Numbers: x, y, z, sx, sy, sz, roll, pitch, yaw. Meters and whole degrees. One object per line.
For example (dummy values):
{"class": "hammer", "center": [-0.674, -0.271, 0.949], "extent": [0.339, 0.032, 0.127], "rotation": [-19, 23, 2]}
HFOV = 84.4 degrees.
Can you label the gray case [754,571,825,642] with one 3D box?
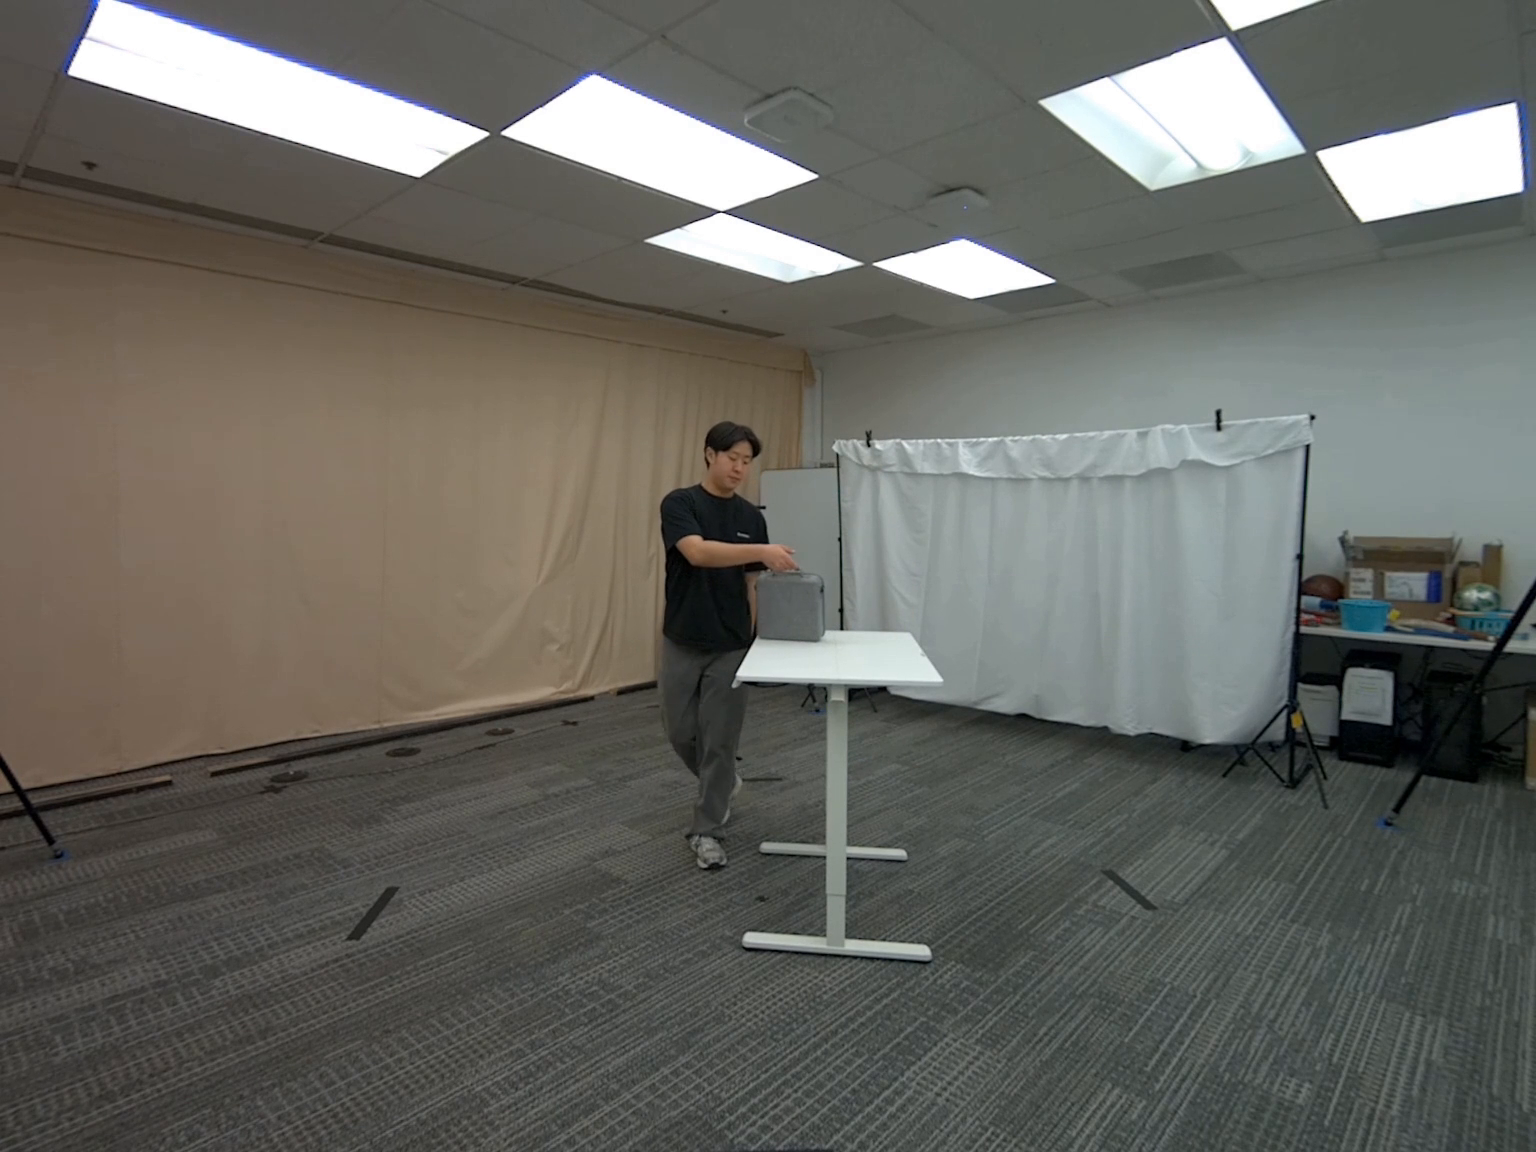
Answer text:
{"class": "gray case", "center": [0.089, 0.105, 3.178], "extent": [0.268, 0.285, 0.102], "rotation": [2, 12, 19]}
